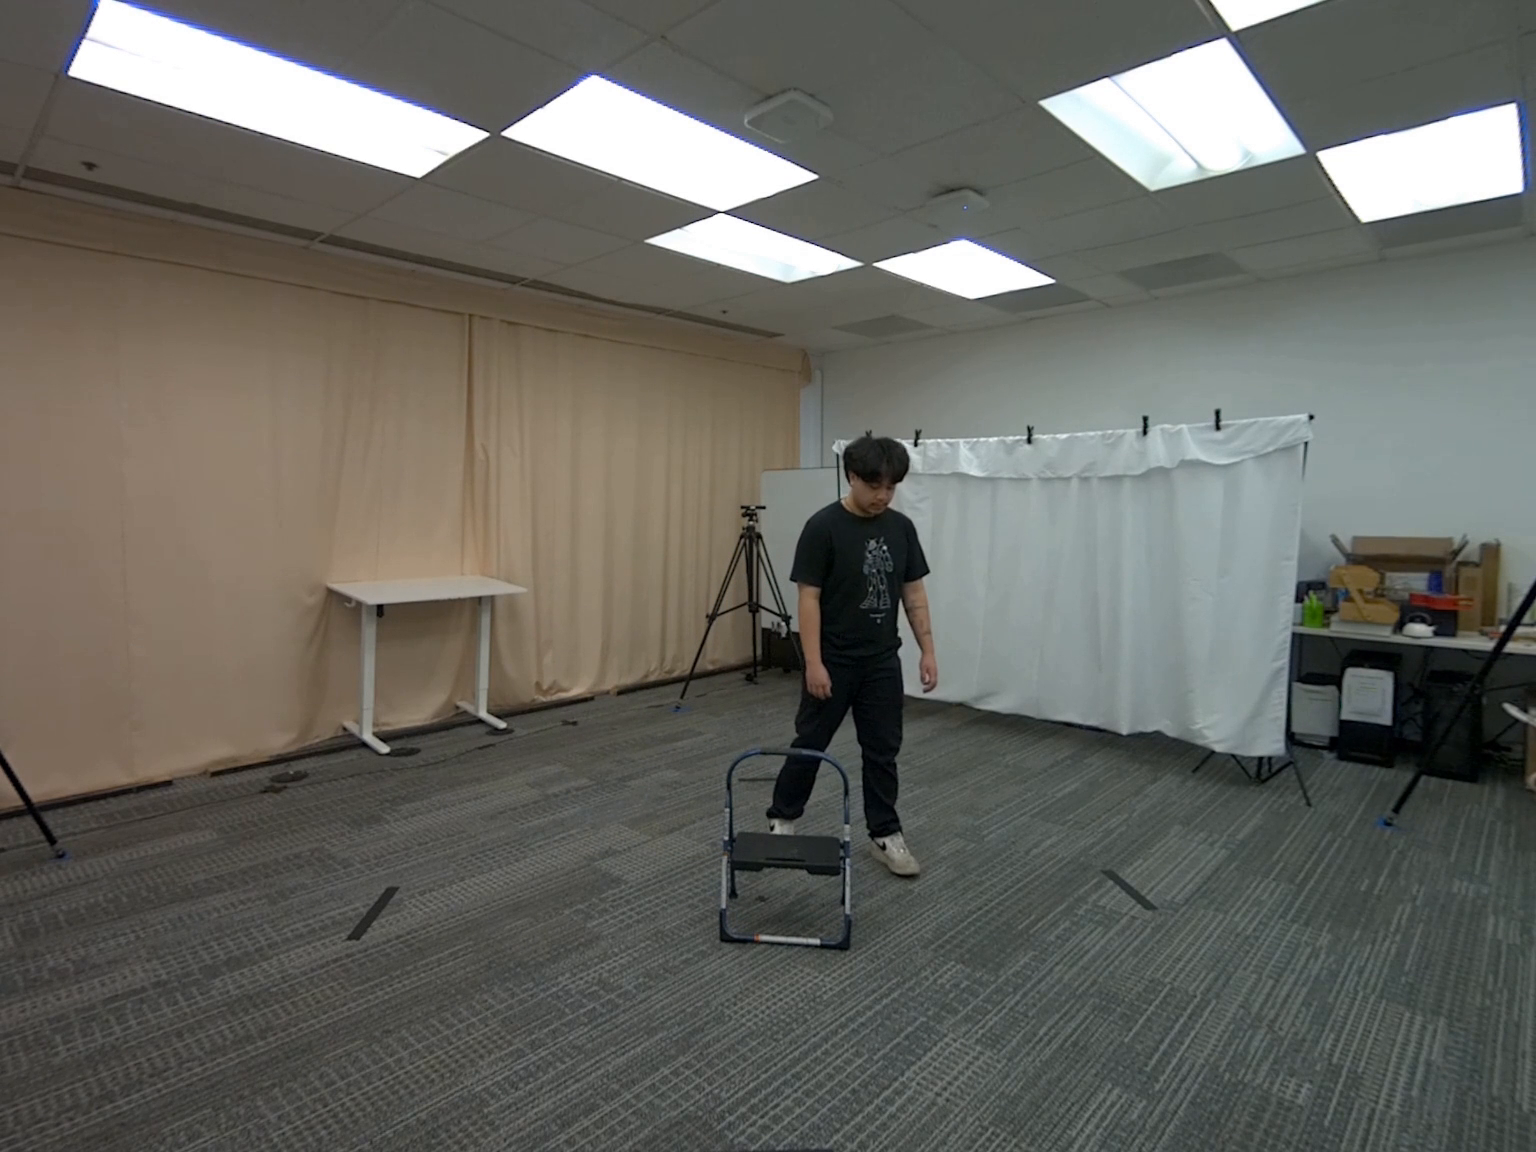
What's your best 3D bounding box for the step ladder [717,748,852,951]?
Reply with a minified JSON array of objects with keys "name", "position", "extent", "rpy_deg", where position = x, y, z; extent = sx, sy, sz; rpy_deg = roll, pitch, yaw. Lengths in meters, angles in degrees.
[{"name":"step ladder","position":[0.062,0.860,2.807],"extent":[0.434,0.605,0.347],"rpy_deg":[1,3,6]}]
